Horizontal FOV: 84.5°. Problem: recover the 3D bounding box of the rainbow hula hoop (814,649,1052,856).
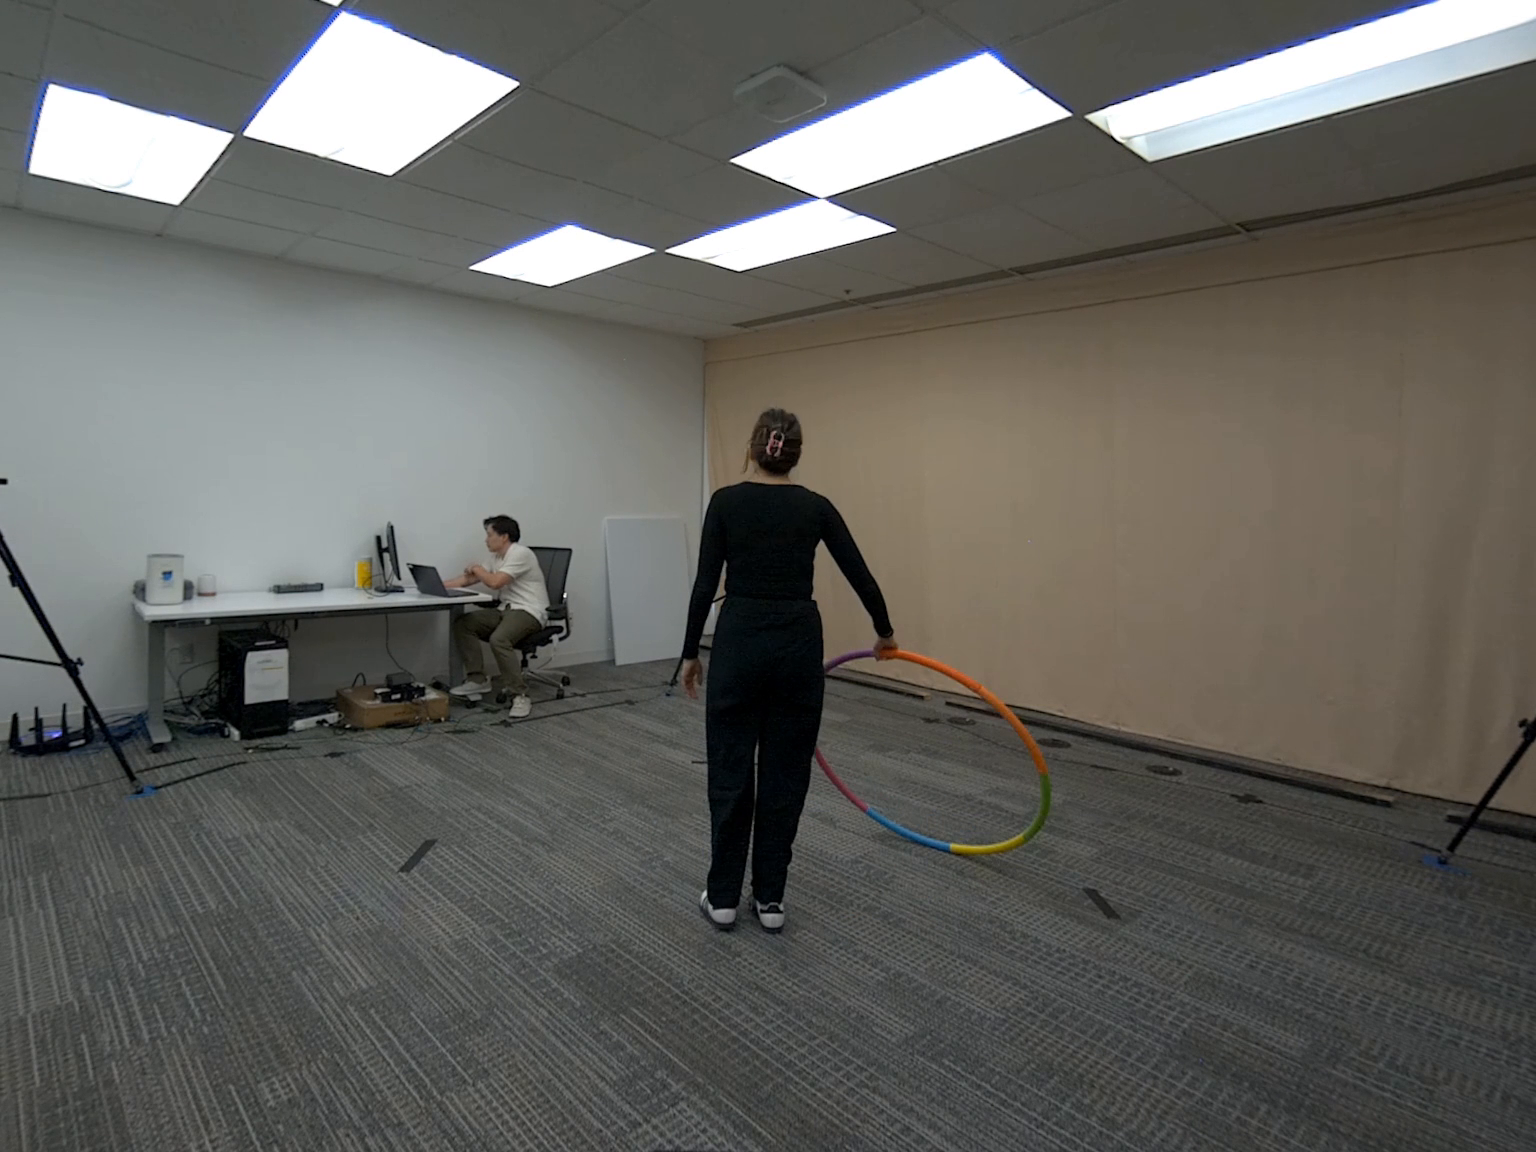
[{"bbox_3d":[0.559,0.689,3.205,1.002,0.957,0.035,5,34,36],"label":"rainbow hula hoop"}]
